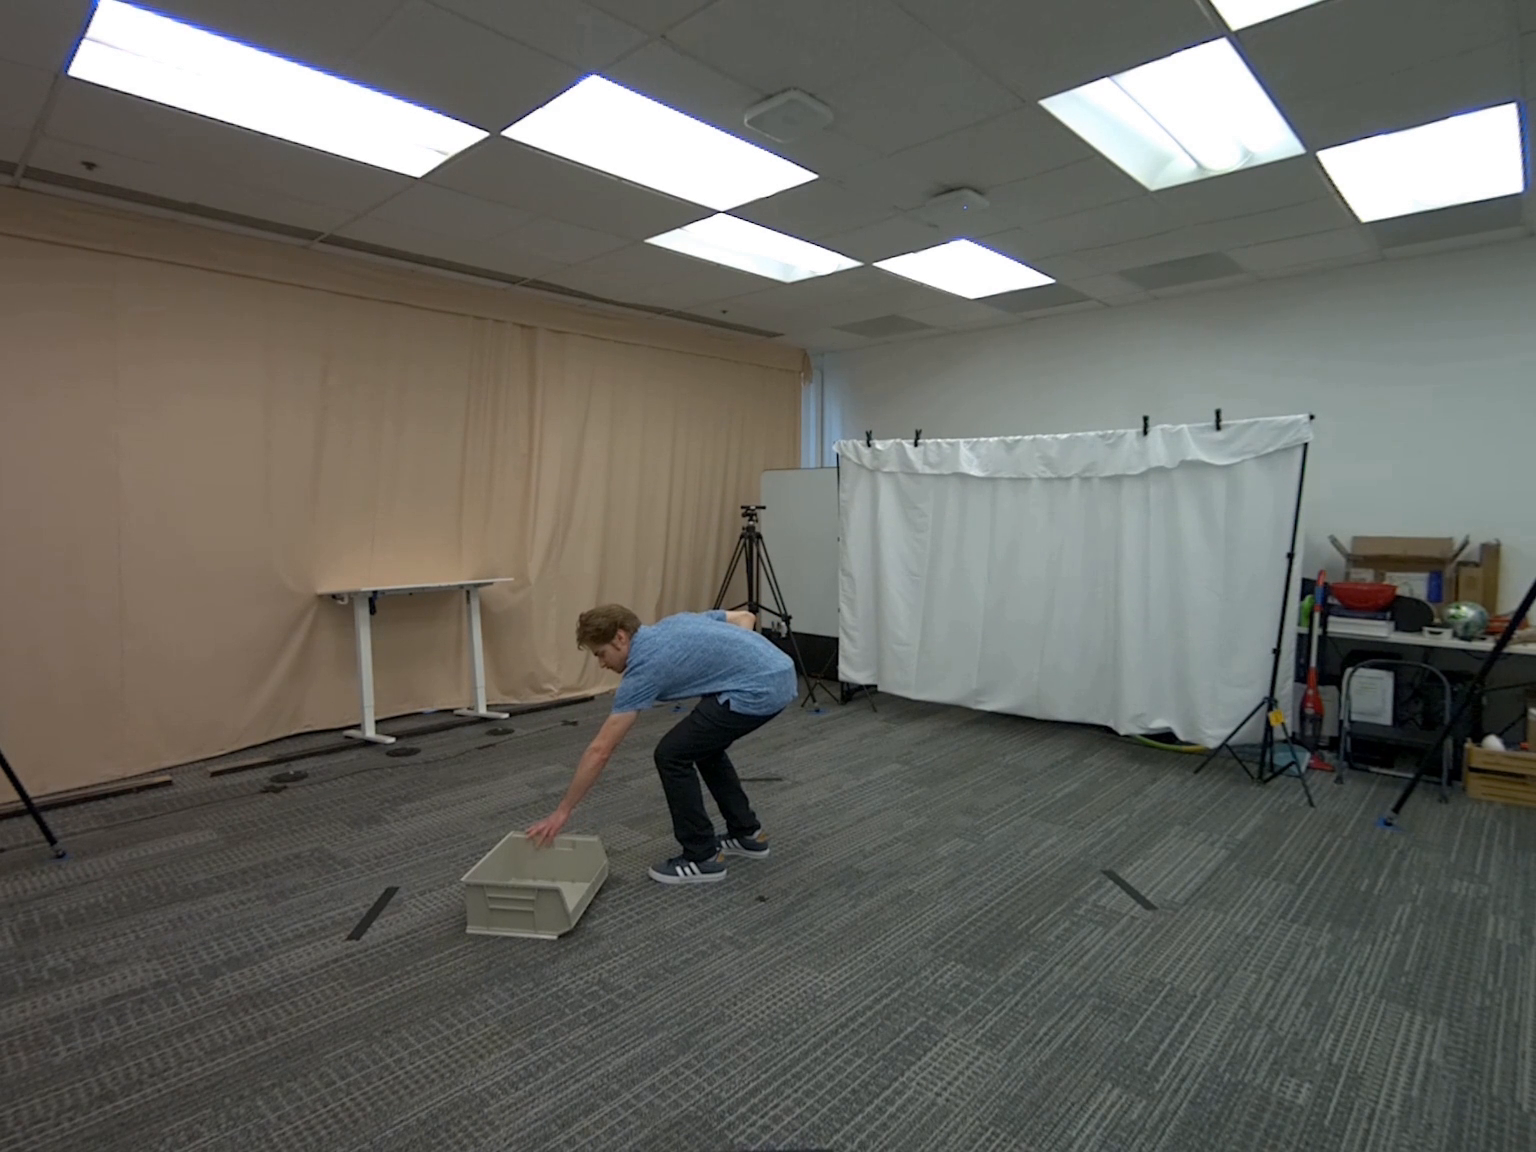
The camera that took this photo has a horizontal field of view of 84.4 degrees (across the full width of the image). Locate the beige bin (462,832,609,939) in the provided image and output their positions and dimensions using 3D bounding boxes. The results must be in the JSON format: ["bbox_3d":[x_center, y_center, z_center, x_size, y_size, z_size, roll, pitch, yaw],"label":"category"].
[{"bbox_3d":[-0.797,1.065,2.928,0.381,0.188,0.419,-1,4,7],"label":"beige bin"}]
